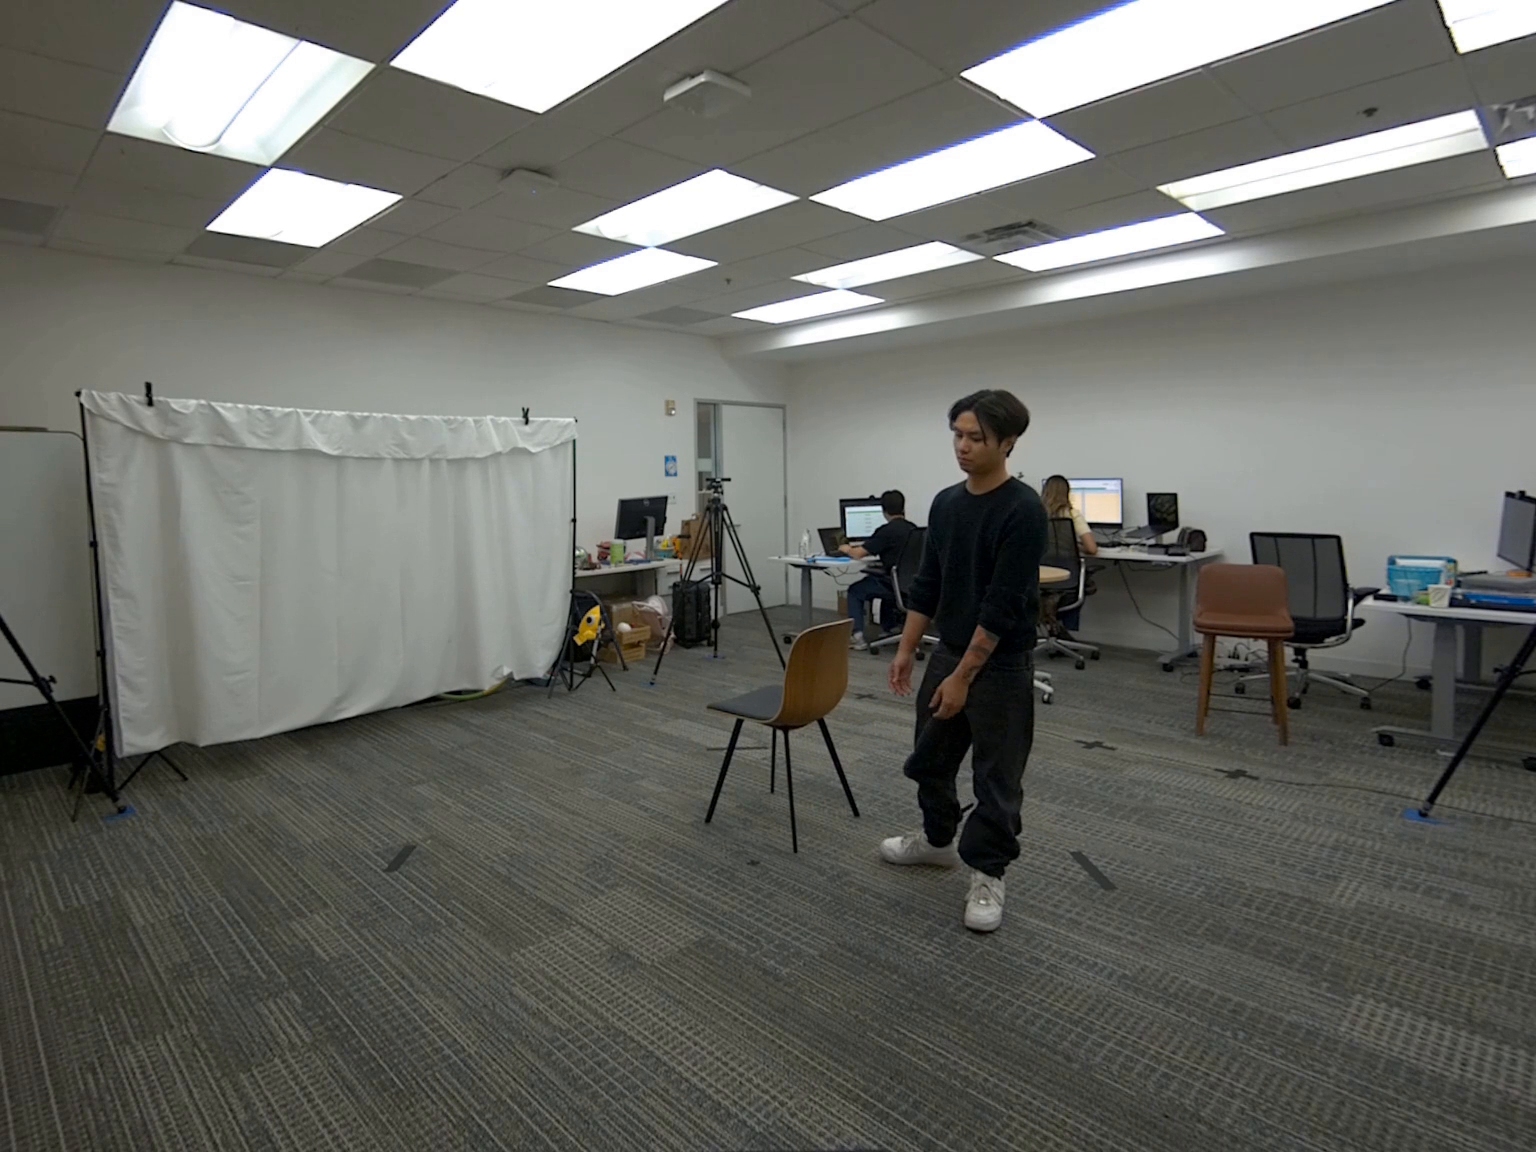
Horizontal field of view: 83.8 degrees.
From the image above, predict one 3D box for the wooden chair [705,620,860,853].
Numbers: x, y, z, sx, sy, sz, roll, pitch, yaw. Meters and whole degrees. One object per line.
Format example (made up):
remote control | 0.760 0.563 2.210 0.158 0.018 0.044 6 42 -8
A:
wooden chair | 0.051 0.570 3.461 0.540 0.872 0.466 8 9 38
